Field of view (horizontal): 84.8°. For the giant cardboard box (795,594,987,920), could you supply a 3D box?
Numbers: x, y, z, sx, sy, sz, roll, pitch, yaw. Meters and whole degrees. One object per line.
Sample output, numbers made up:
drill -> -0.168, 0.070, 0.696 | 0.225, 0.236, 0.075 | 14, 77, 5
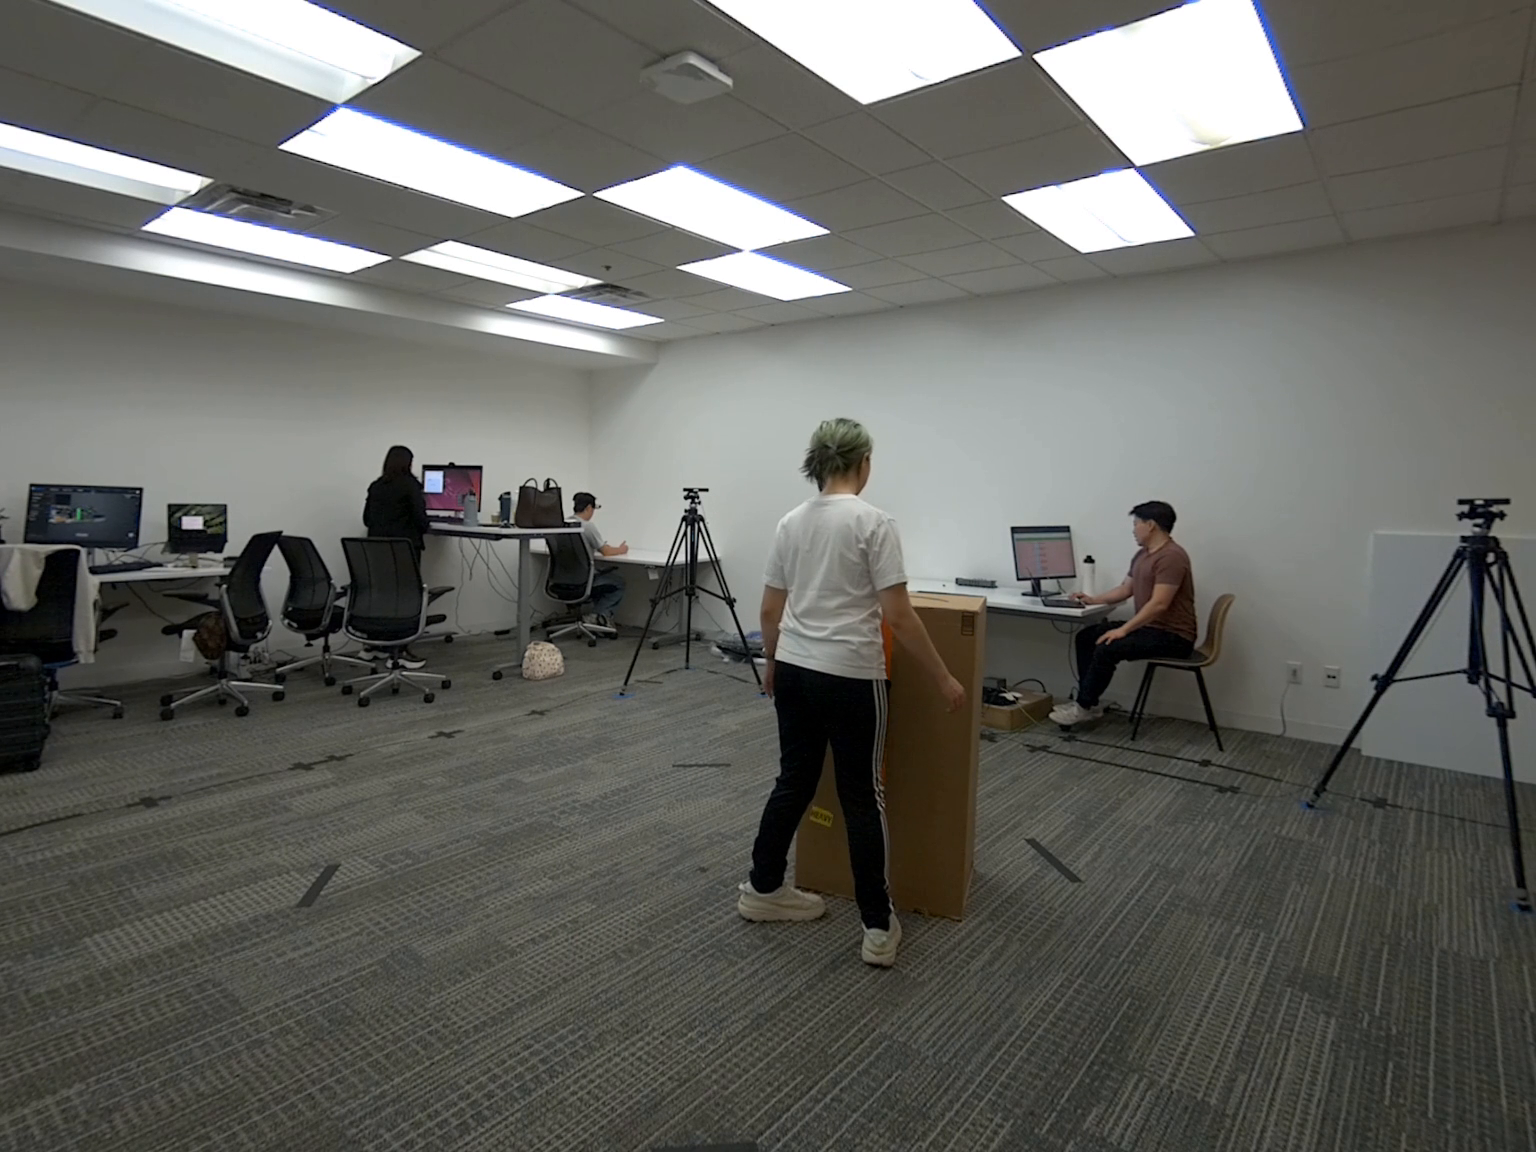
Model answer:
giant cardboard box -> 0.440, 0.580, 3.044 | 0.591, 1.023, 0.418 | 3, 4, 21
